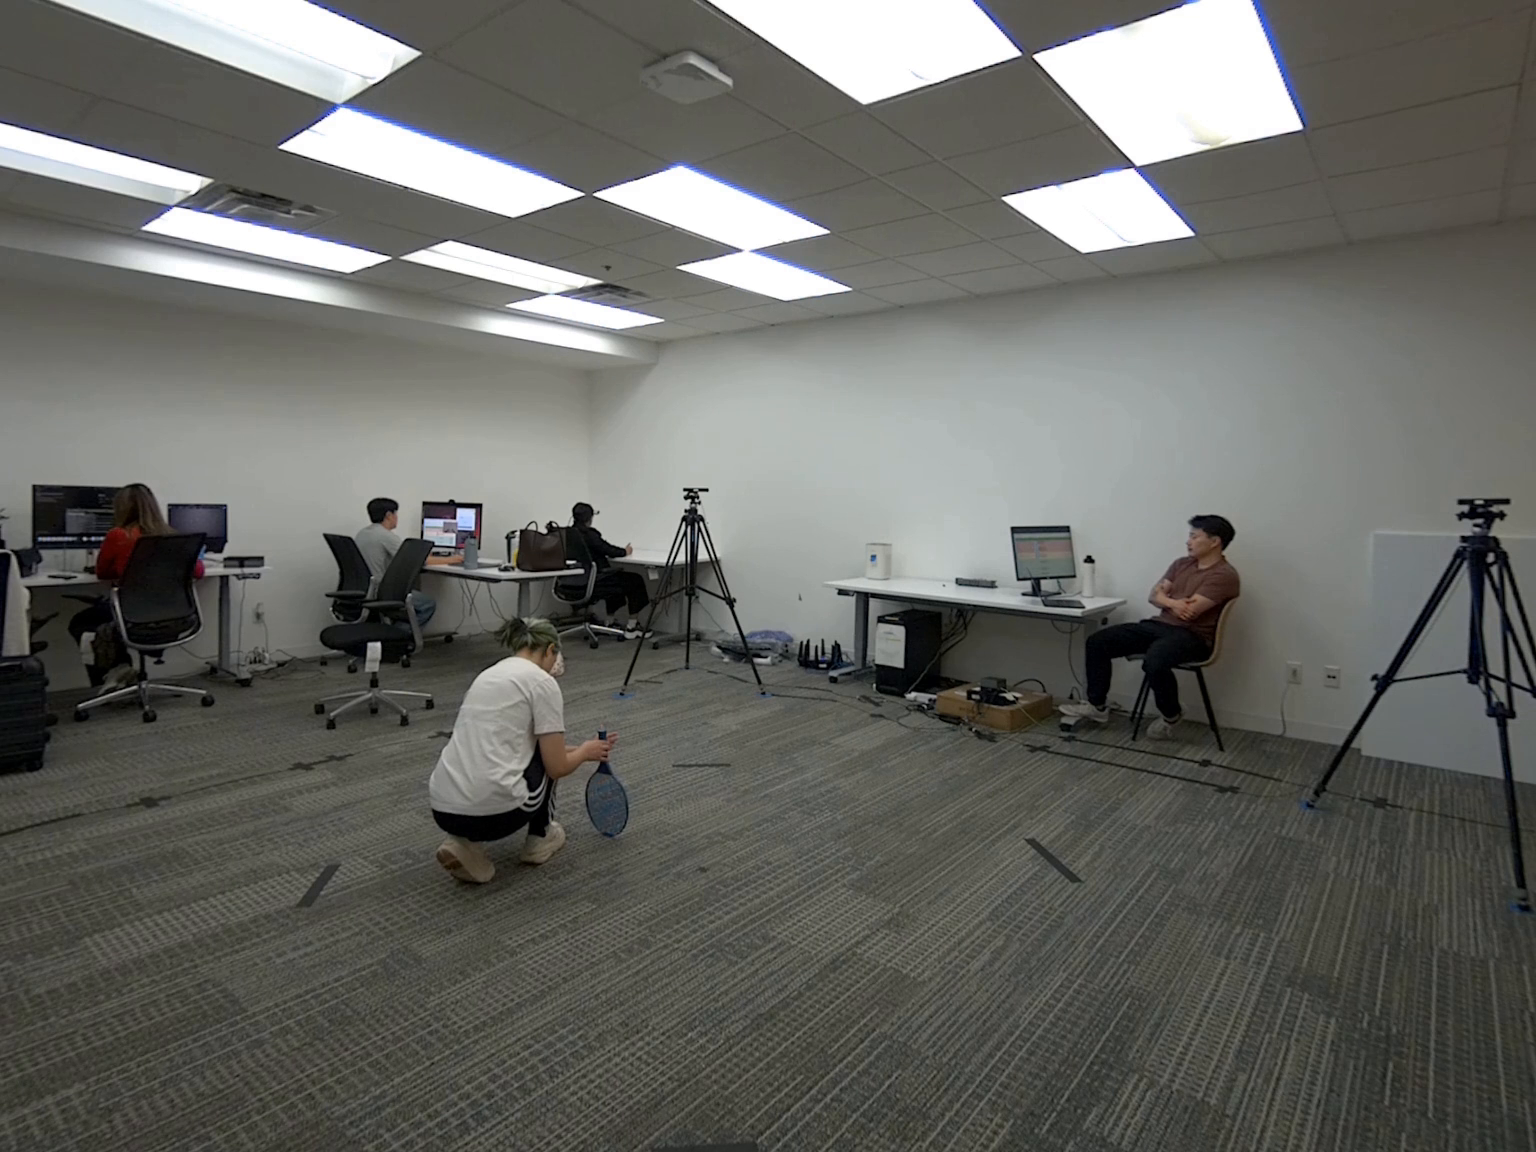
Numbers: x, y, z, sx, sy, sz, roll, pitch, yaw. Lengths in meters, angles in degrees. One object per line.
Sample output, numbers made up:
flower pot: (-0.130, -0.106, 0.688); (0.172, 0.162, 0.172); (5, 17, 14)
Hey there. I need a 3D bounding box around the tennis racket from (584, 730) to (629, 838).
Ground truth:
tennis racket: (-0.660, 0.824, 3.380); (0.220, 0.431, 0.031); (1, 5, 30)
